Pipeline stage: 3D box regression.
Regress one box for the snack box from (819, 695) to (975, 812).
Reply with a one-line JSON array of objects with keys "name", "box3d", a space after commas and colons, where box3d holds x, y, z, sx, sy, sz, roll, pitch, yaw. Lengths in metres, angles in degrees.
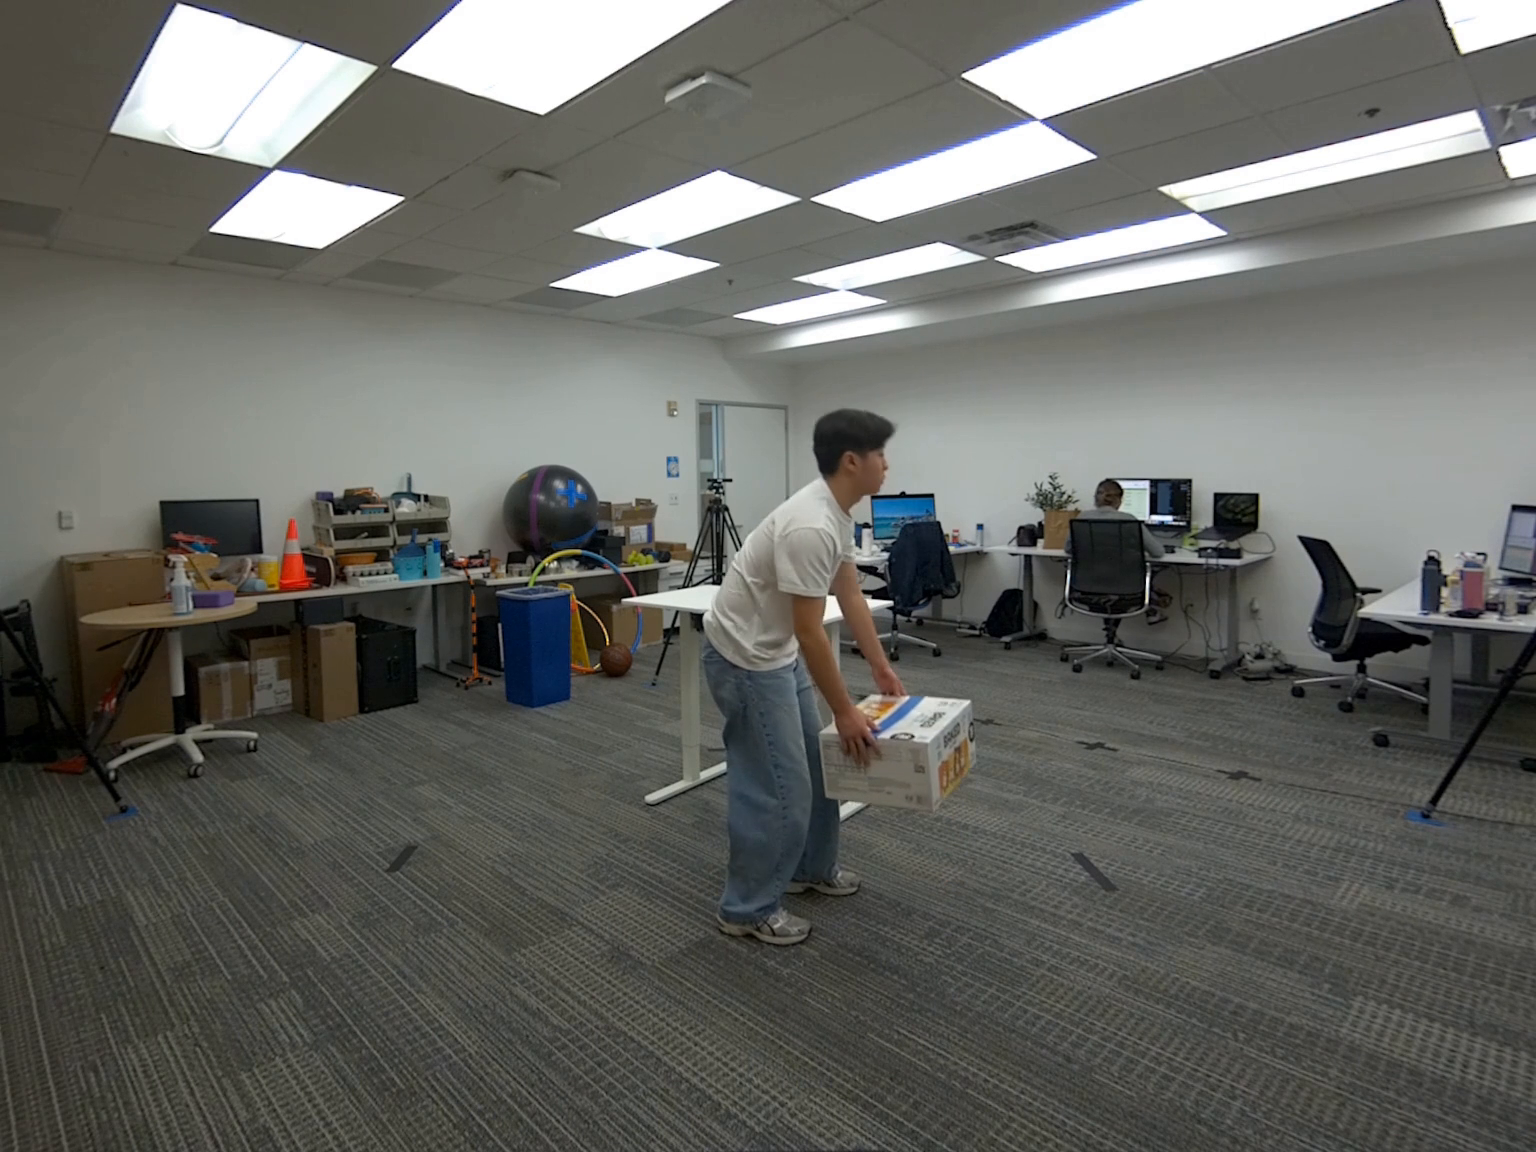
[{"name": "snack box", "box3d": [0.396, 0.539, 2.622, 0.349, 0.204, 0.397, -3, 8, 32]}]
